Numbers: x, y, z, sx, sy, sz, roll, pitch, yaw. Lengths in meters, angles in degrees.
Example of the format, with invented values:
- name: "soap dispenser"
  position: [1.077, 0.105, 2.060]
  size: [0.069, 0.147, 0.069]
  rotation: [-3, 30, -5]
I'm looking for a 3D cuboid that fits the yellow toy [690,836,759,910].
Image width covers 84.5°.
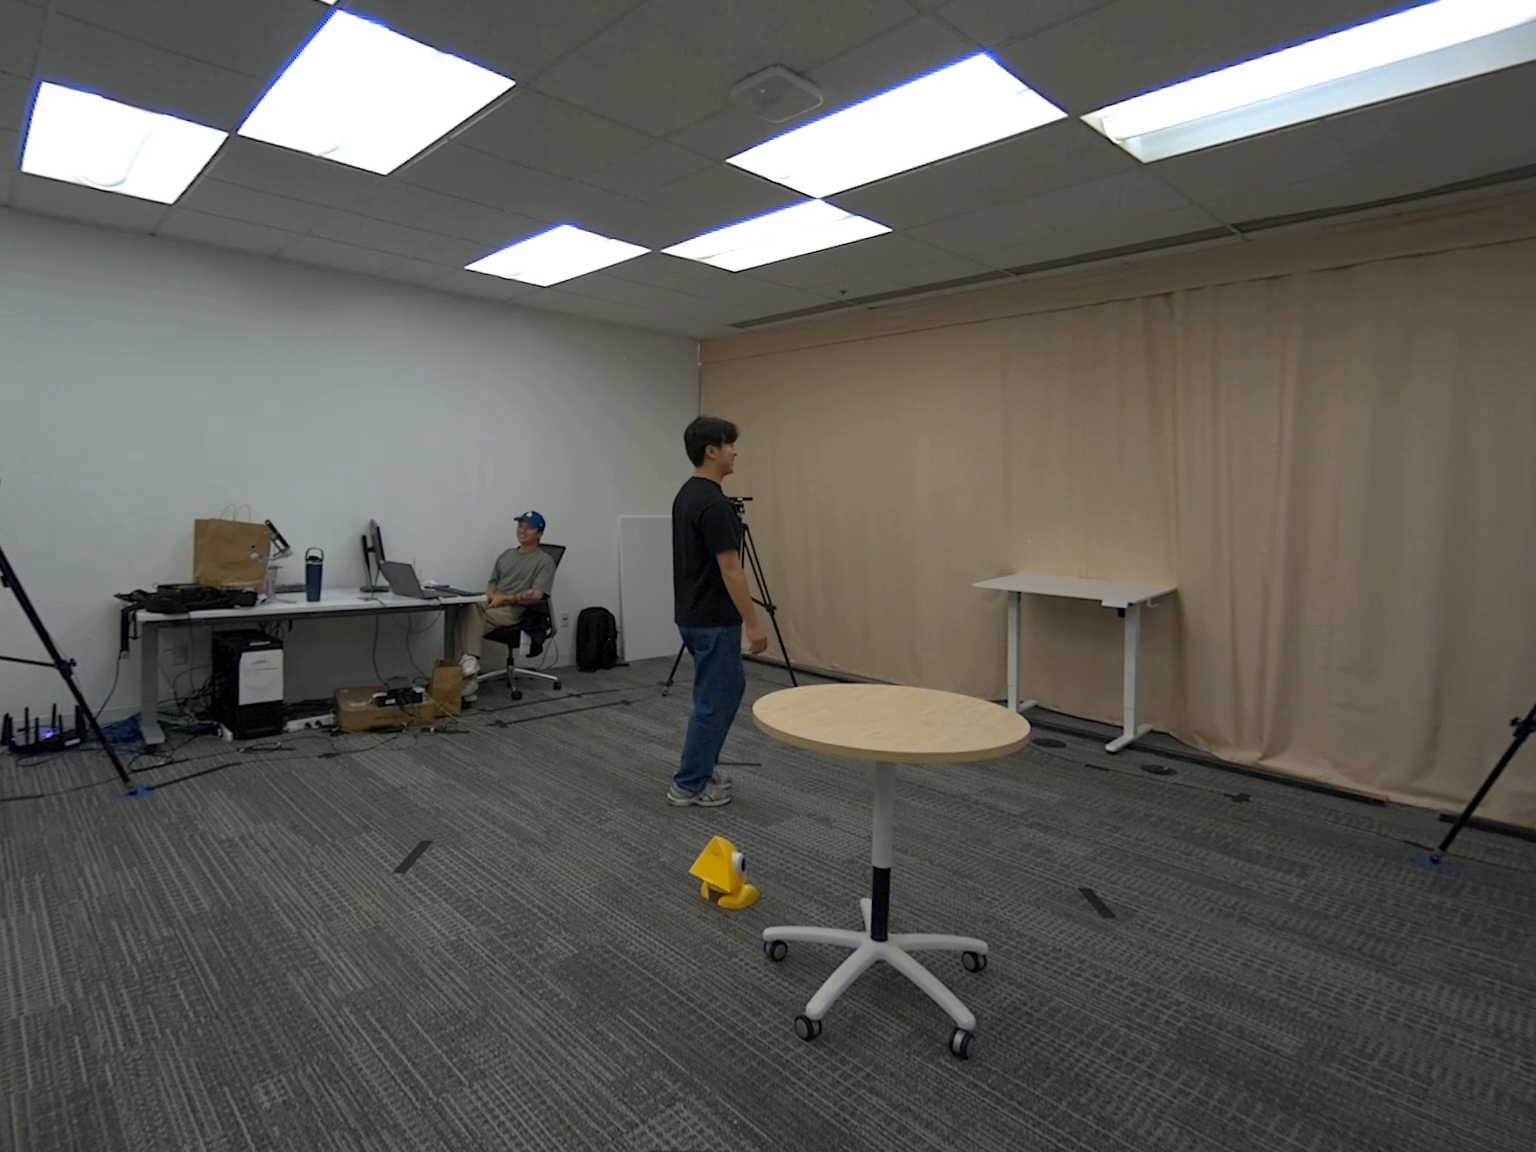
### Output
- name: "yellow toy"
  position: [-0.150, 1.010, 2.944]
  size: [0.210, 0.230, 0.189]
  rotation: [5, 5, 45]
